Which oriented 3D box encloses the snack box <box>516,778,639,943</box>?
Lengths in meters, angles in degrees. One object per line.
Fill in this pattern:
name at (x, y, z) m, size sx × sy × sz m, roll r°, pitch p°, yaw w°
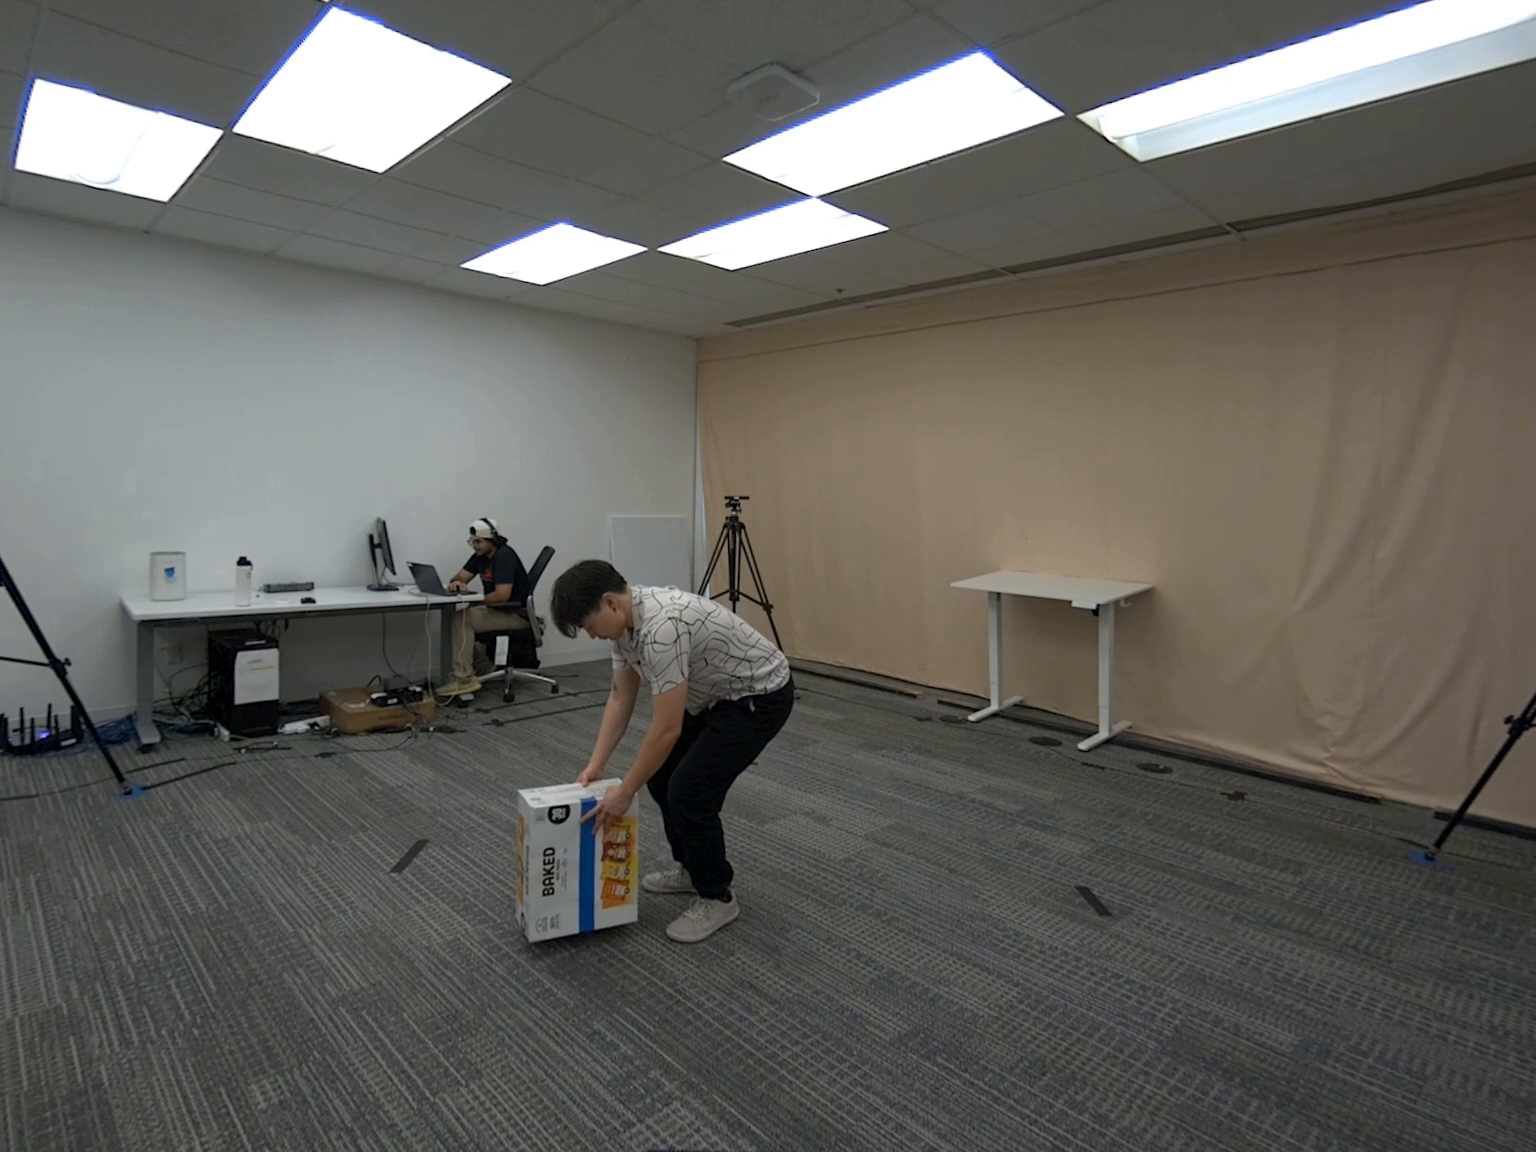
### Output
snack box at (-0.608, 0.882, 2.651) m, size 0.334 × 0.405 × 0.210 m, roll 0°, pitch 1°, yaw -28°
